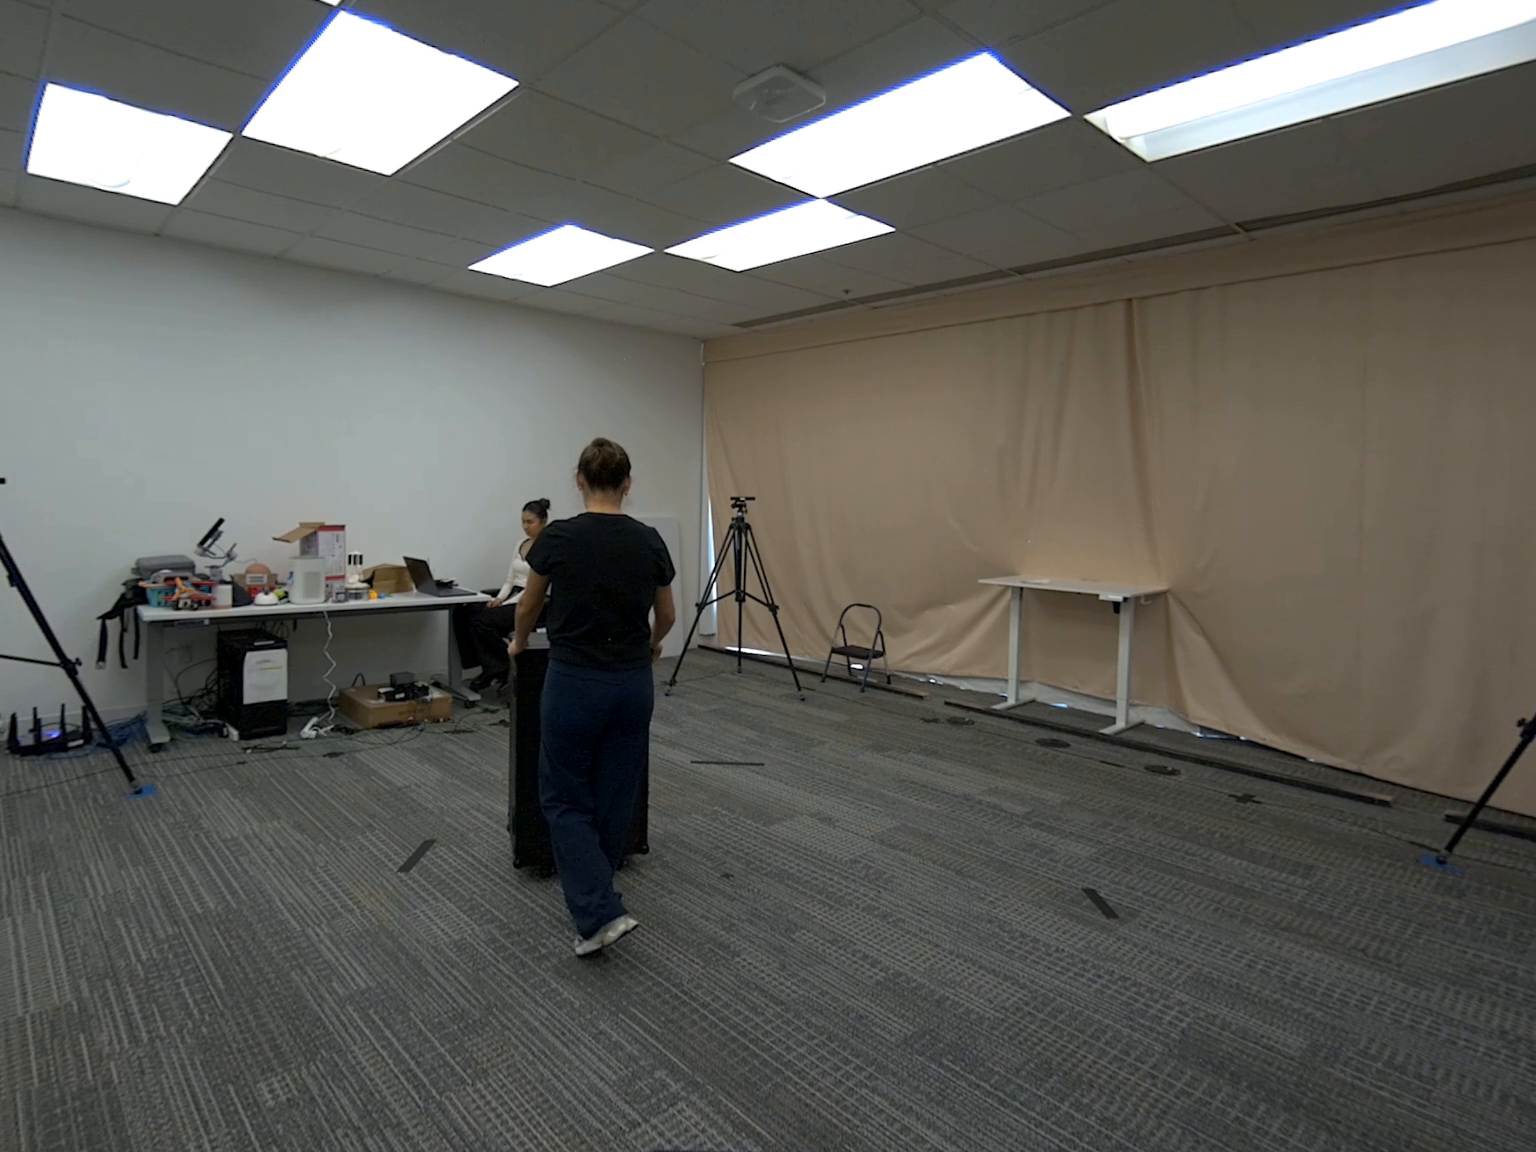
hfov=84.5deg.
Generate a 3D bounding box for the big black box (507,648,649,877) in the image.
[{"bbox_3d":[-0.733,0.663,3.177,0.514,0.859,0.403,0,3,-20],"label":"big black box"}]
